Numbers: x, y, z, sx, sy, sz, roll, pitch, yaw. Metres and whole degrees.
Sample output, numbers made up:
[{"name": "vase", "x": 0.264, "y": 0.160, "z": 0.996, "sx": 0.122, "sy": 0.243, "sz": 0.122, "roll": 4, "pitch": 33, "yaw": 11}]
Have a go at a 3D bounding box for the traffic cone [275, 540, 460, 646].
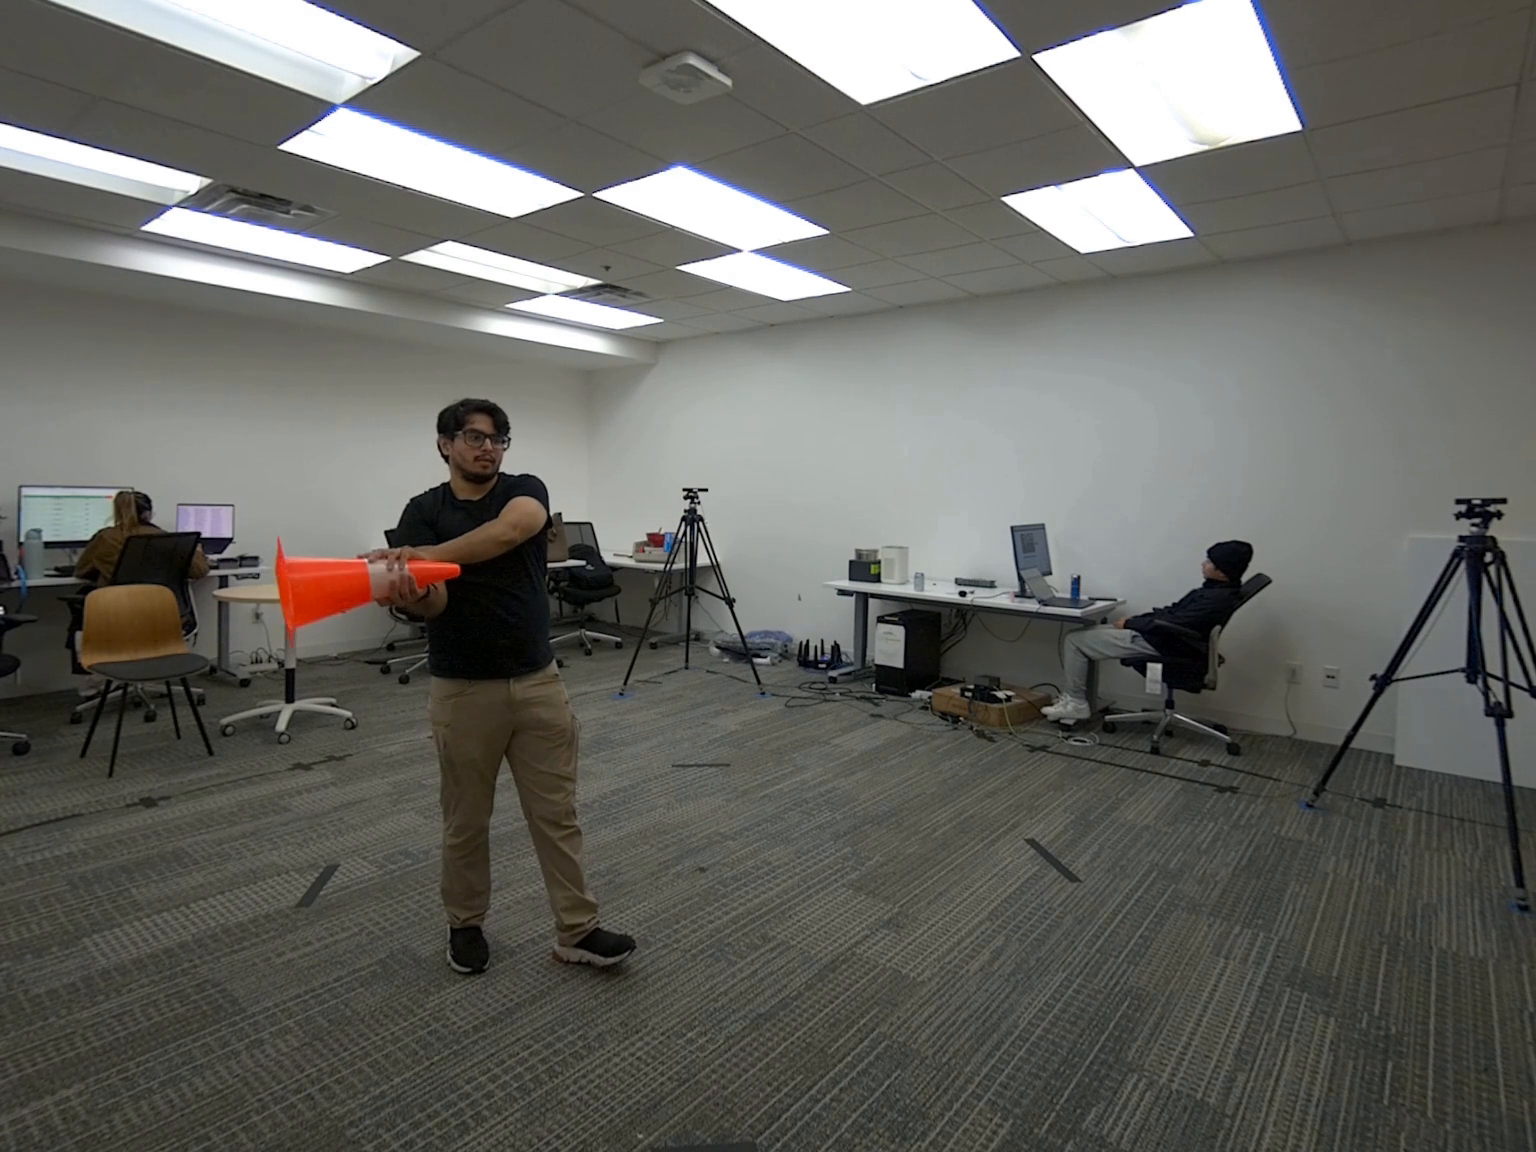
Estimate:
[{"name": "traffic cone", "x": -0.892, "y": 0.008, "z": 1.939, "sx": 0.374, "sy": 0.206, "sz": 0.207, "roll": -11, "pitch": -13, "yaw": -33}]
